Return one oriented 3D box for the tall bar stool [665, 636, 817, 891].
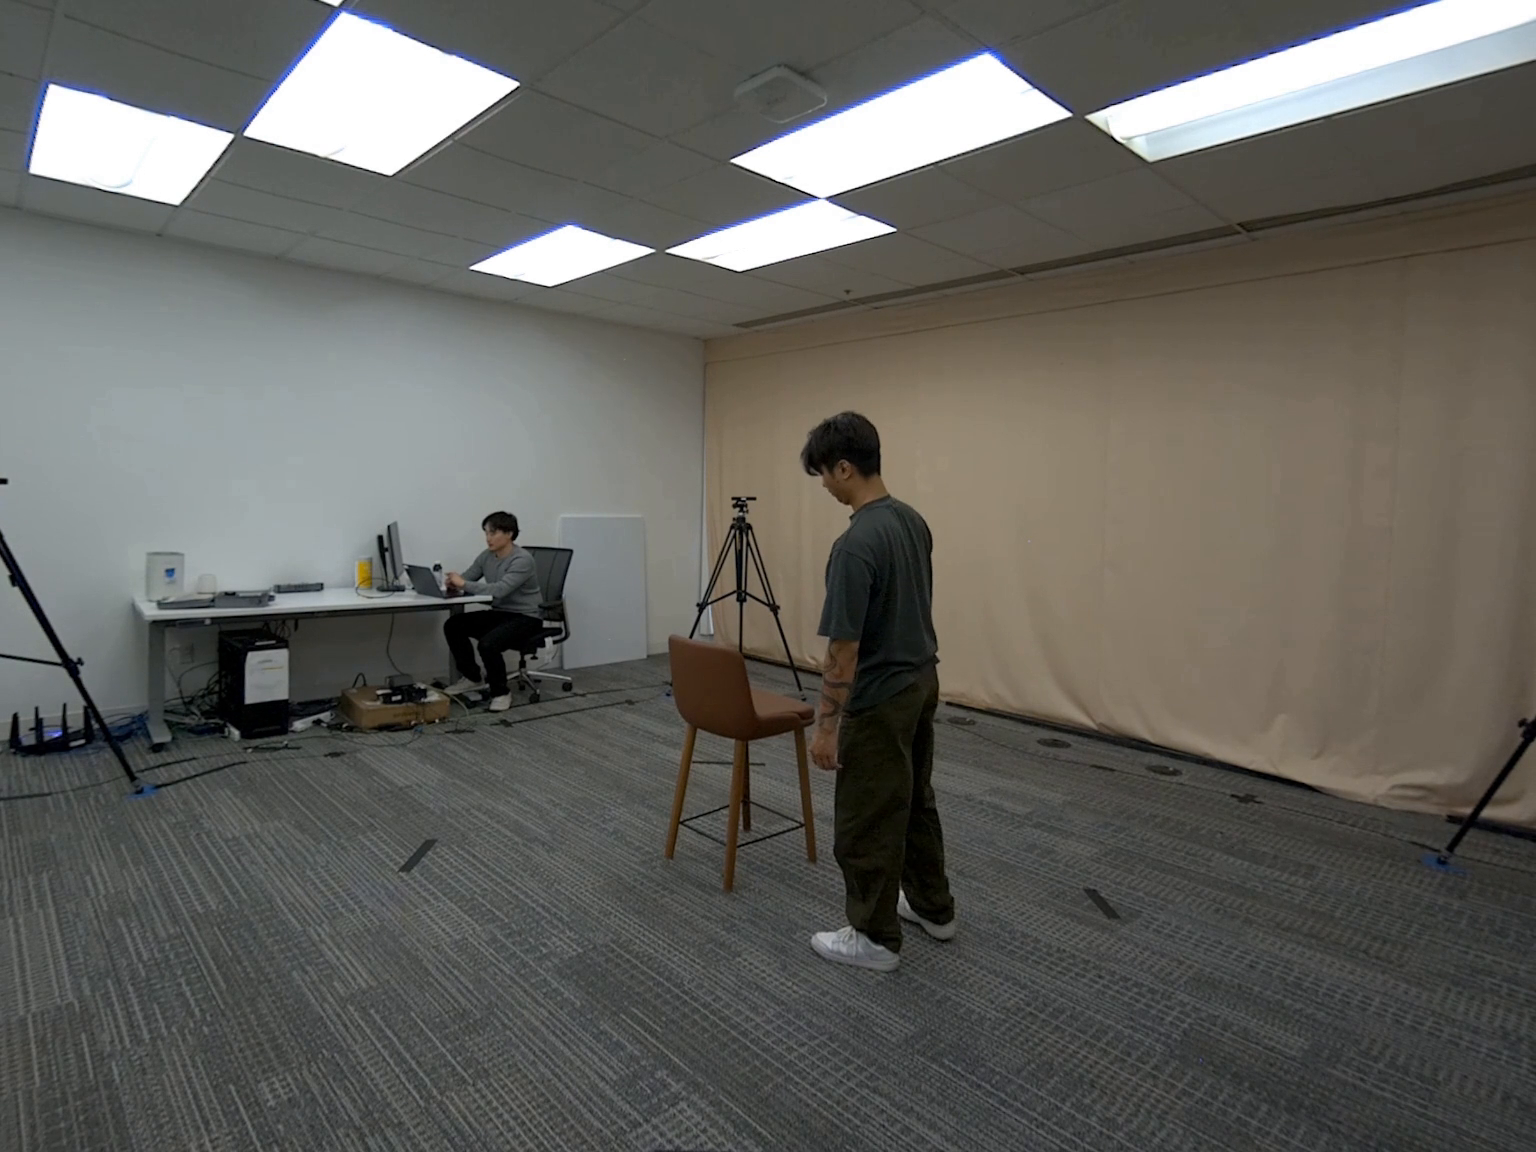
[{"bbox_3d":[-0.110,0.661,3.228,0.457,0.887,0.468,-4,5,-42],"label":"tall bar stool"}]
